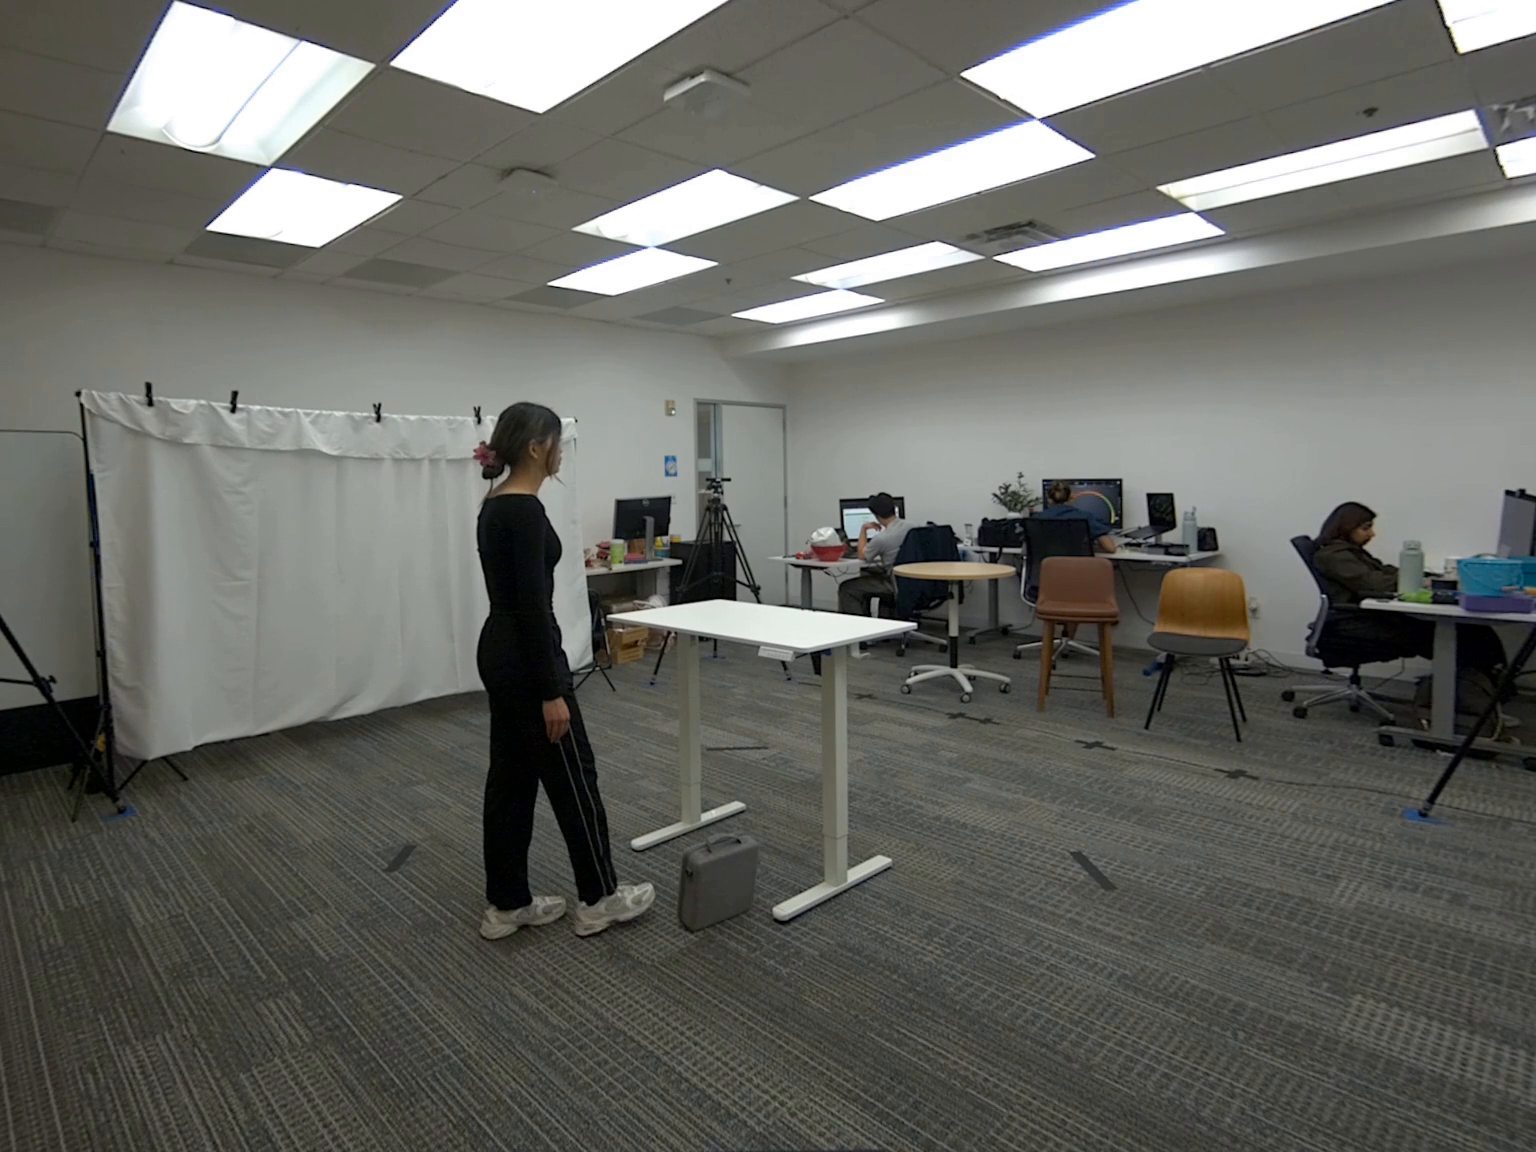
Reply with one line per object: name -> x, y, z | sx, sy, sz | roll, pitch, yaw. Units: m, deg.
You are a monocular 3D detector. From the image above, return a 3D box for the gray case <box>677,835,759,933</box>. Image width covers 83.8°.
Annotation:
gray case -> -0.156, 0.956, 2.710 | 0.250, 0.258, 0.108 | -3, 15, -34
